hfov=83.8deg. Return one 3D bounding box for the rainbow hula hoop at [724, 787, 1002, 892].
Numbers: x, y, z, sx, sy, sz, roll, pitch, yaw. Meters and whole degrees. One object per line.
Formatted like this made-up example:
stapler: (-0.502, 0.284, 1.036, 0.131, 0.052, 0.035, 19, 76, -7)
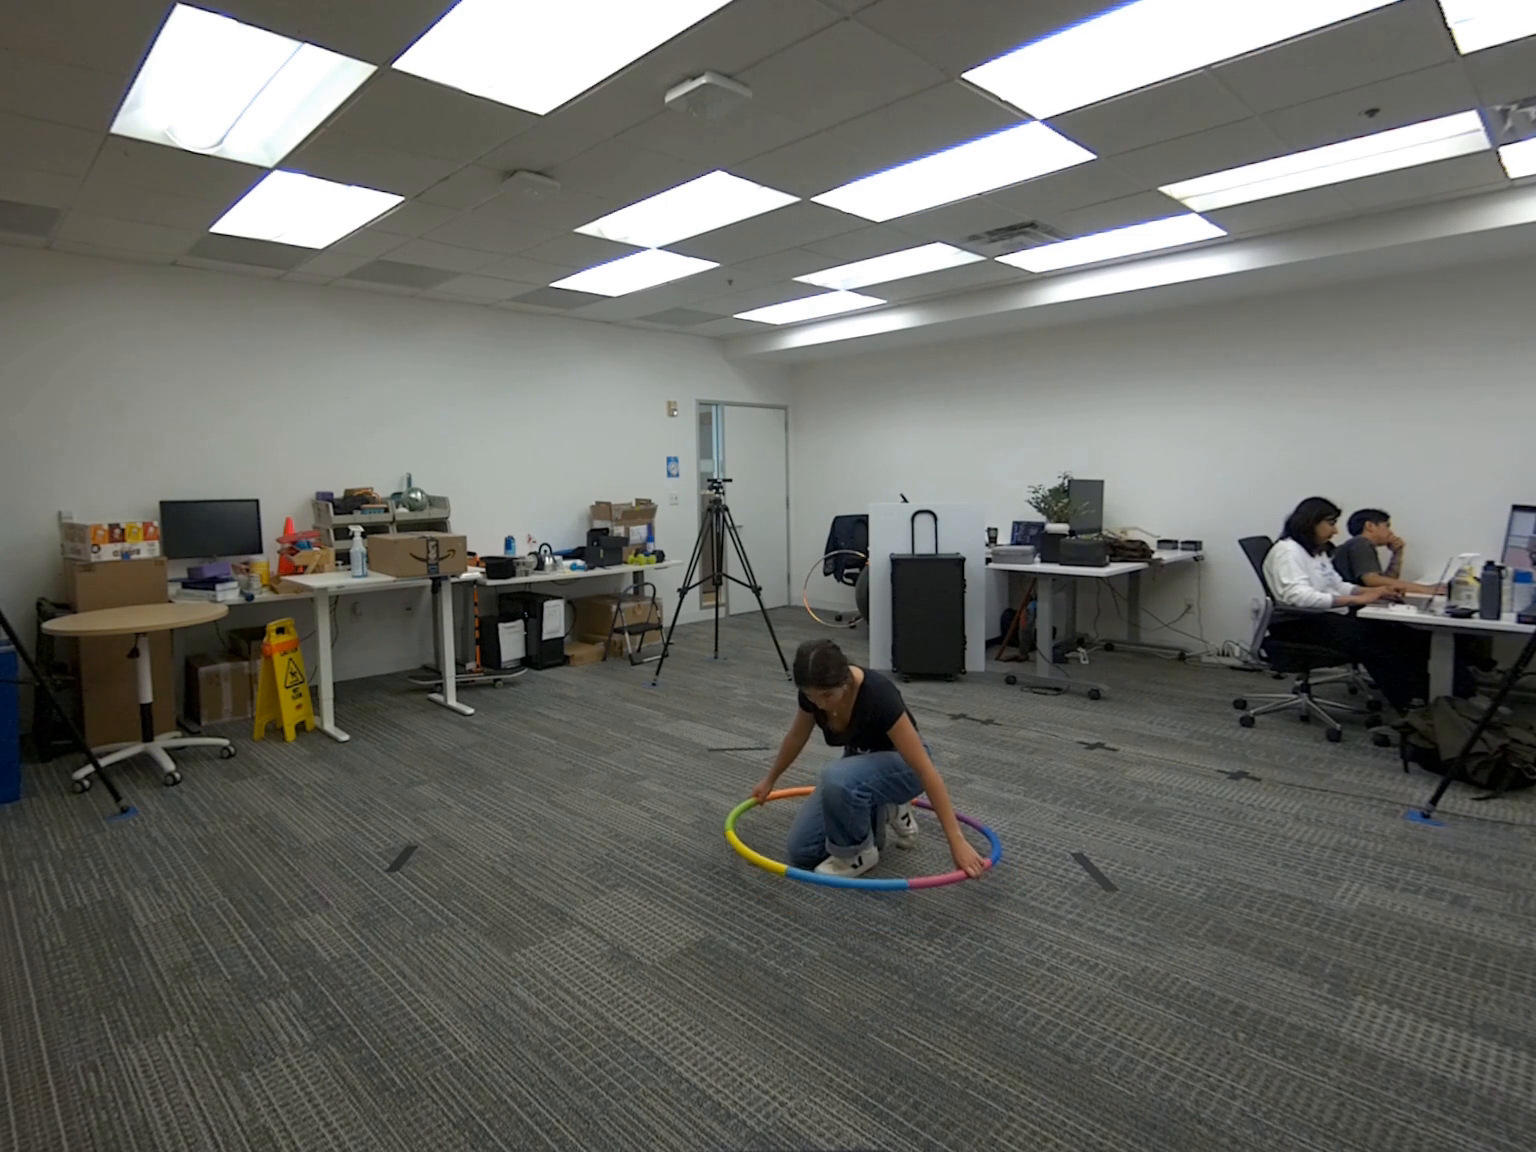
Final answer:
rainbow hula hoop: (0.335, 0.917, 3.092, 0.978, 0.035, 0.981, 2, 3, -2)
